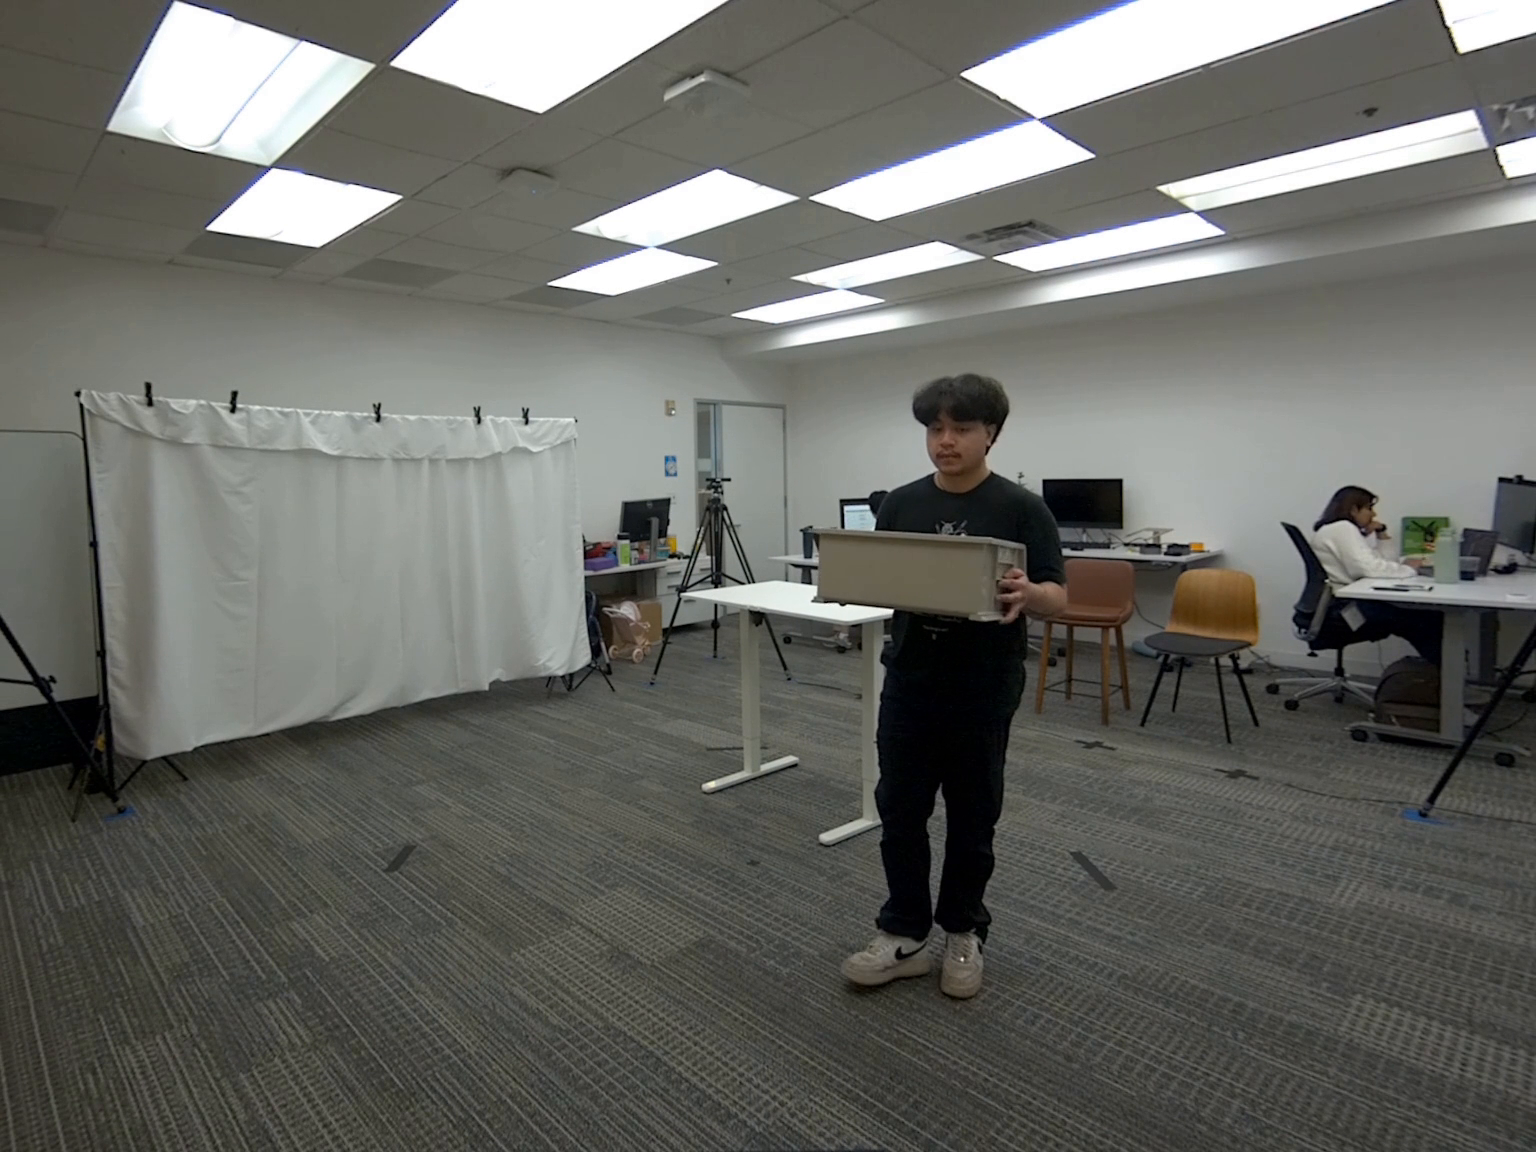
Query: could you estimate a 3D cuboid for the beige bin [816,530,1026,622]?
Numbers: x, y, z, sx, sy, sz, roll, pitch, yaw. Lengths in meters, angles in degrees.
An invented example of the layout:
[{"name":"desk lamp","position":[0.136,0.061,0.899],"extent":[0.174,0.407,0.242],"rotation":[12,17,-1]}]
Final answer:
[{"name":"beige bin","position":[0.361,-0.003,2.084],"extent":[0.433,0.189,0.368],"rotation":[5,2,28]}]
